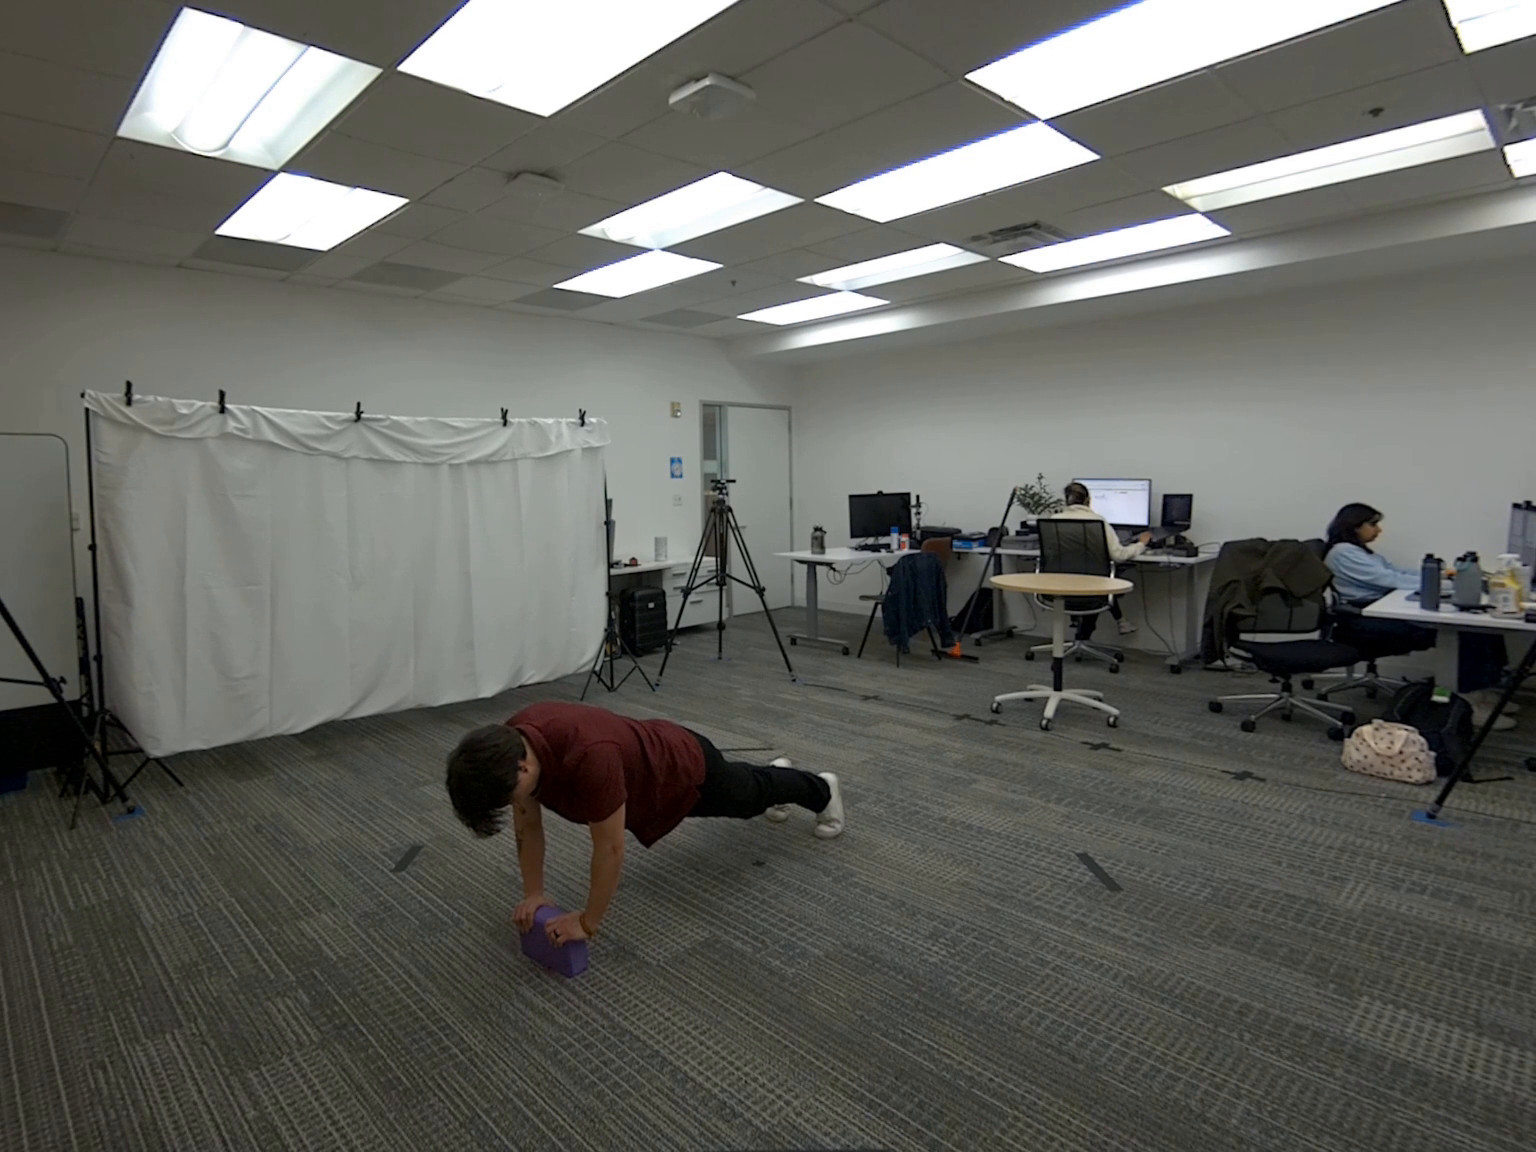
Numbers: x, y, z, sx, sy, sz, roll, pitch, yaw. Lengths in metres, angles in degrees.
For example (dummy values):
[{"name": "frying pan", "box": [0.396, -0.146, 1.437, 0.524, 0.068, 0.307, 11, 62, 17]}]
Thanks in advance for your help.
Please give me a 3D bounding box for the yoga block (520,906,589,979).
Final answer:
[{"name": "yoga block", "box": [-0.625, 1.062, 2.500, 0.236, 0.147, 0.075, 5, 14, 38]}]
